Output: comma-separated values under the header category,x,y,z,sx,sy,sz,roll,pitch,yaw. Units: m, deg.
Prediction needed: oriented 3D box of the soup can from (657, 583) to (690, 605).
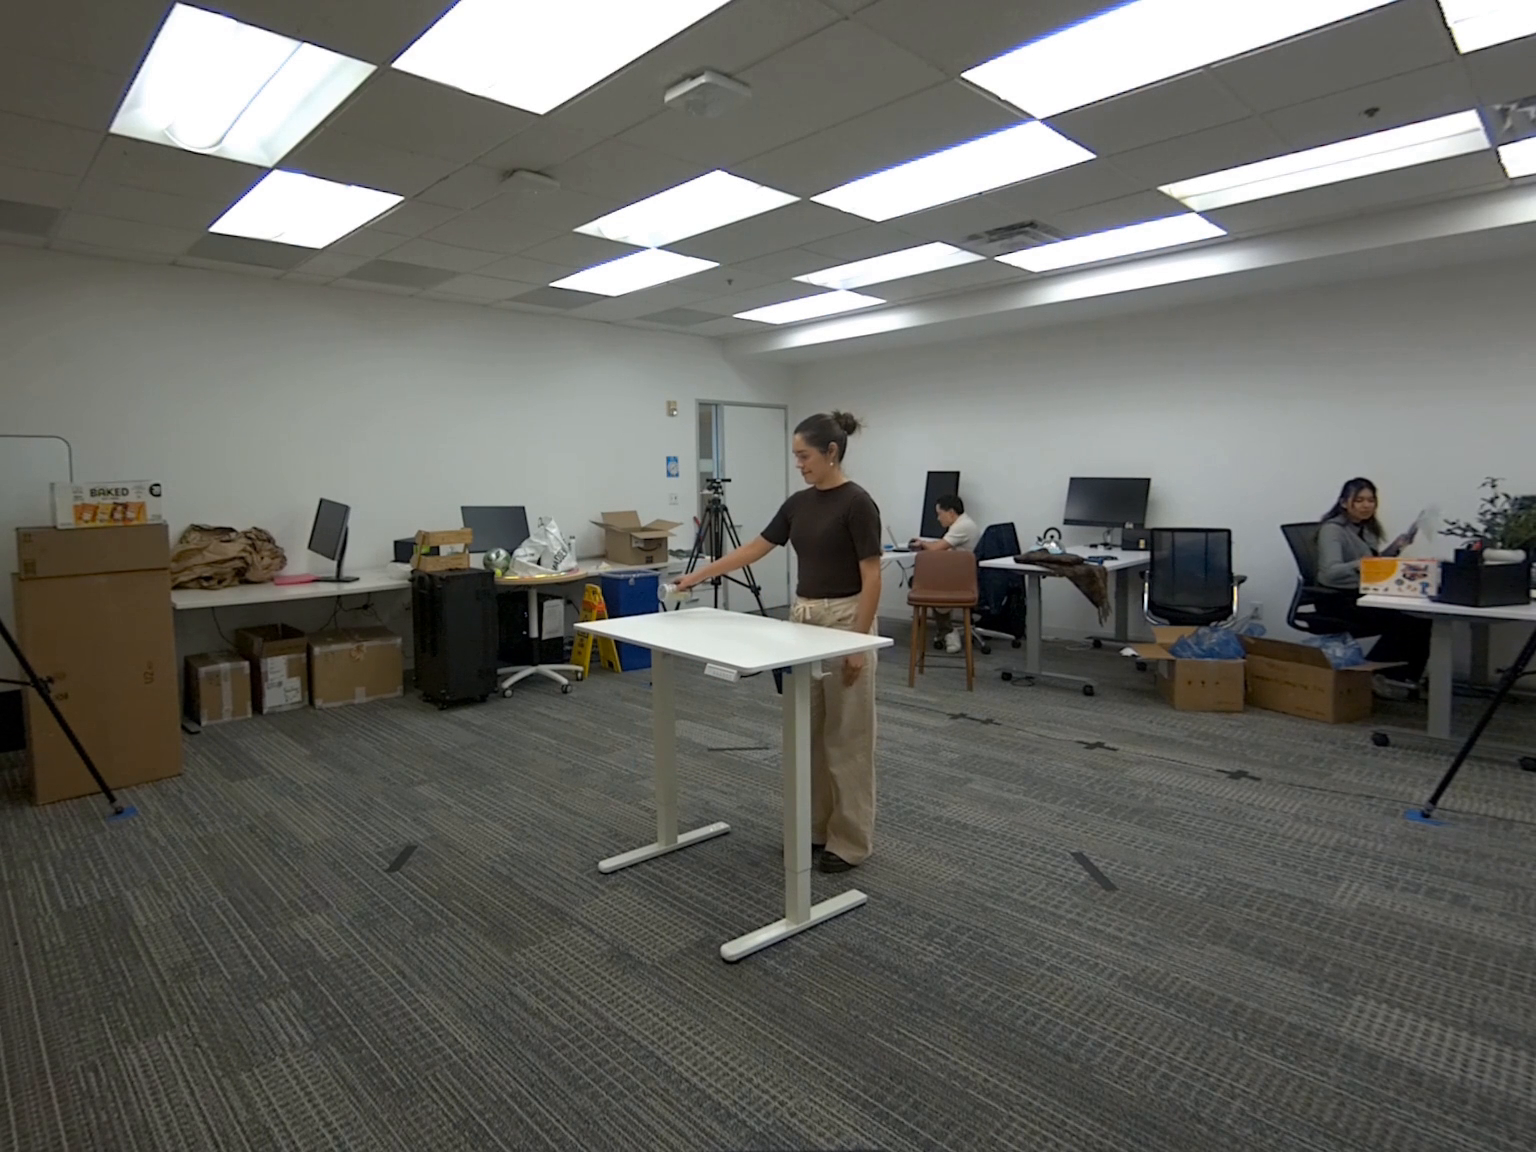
category,x,y,z,sx,sy,sz,roll,pitch,yaw
soup can,-0.341,0.059,3.252,0.120,0.067,0.068,0,4,-13
